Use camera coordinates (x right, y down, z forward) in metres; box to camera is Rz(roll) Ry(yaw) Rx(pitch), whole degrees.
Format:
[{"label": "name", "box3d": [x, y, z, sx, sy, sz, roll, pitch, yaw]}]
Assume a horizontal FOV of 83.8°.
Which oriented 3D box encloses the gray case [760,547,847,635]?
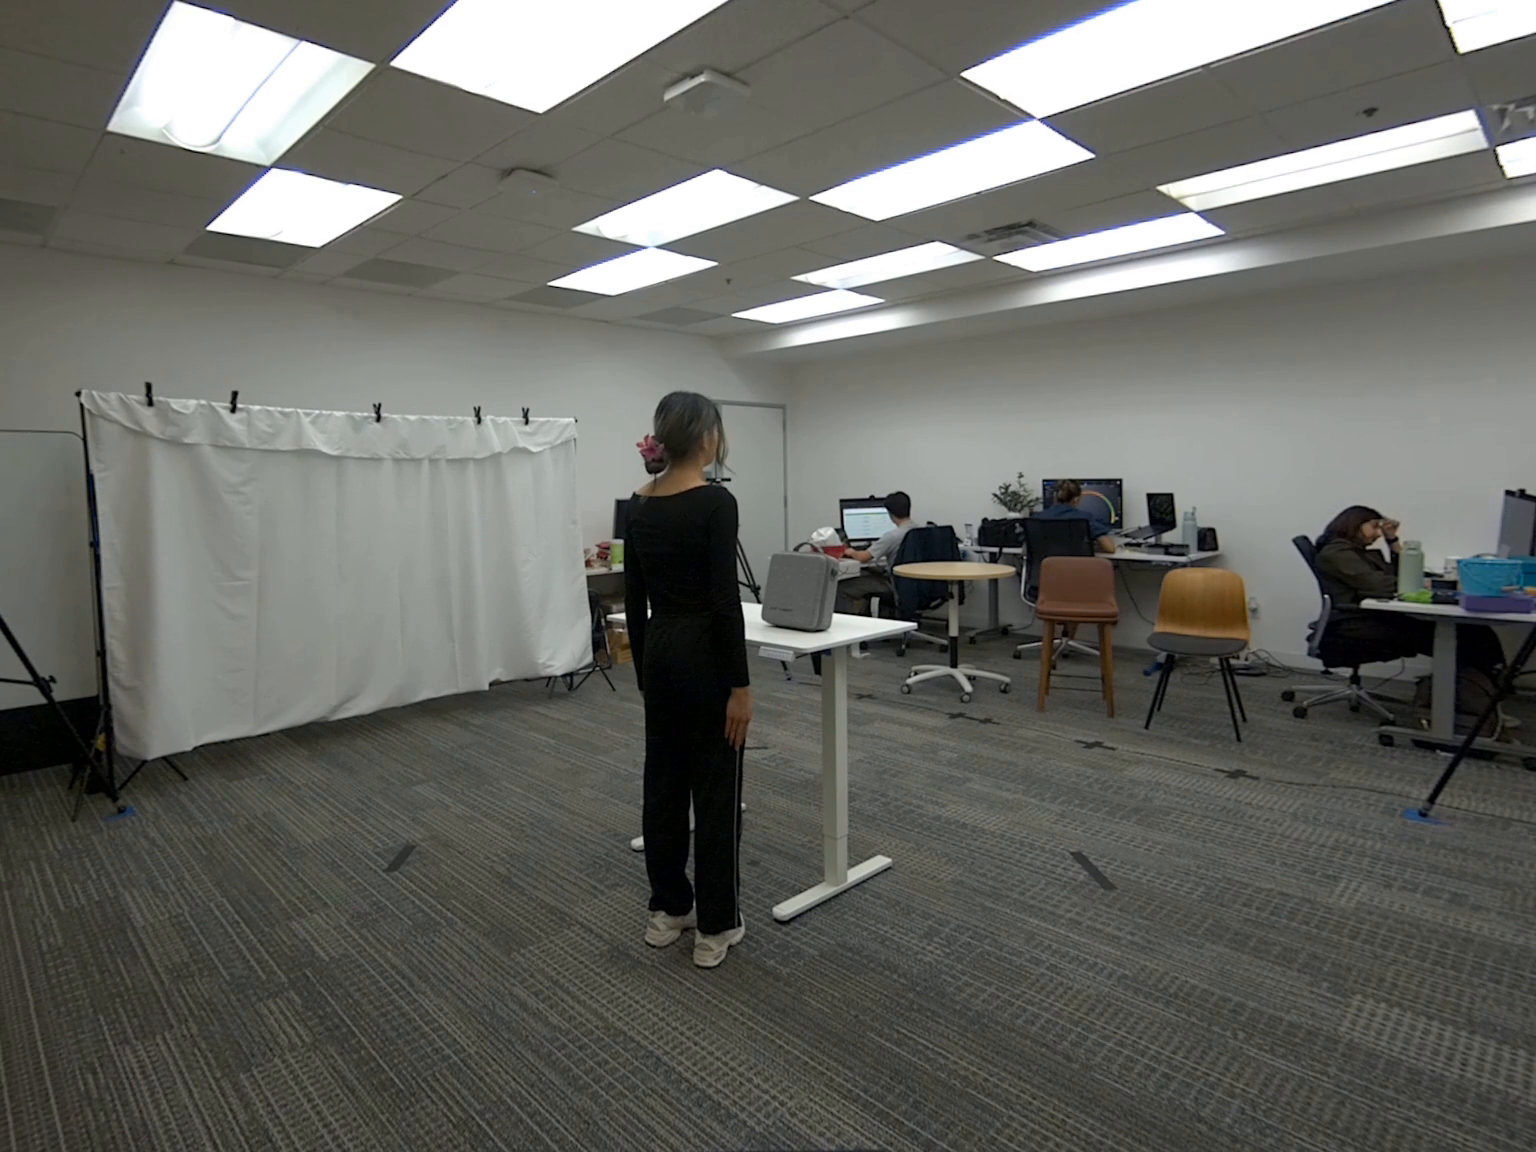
[{"label": "gray case", "box3d": [0.115, 0.046, 2.910, 0.101, 0.261, 0.265, 13, -5, -42]}]
